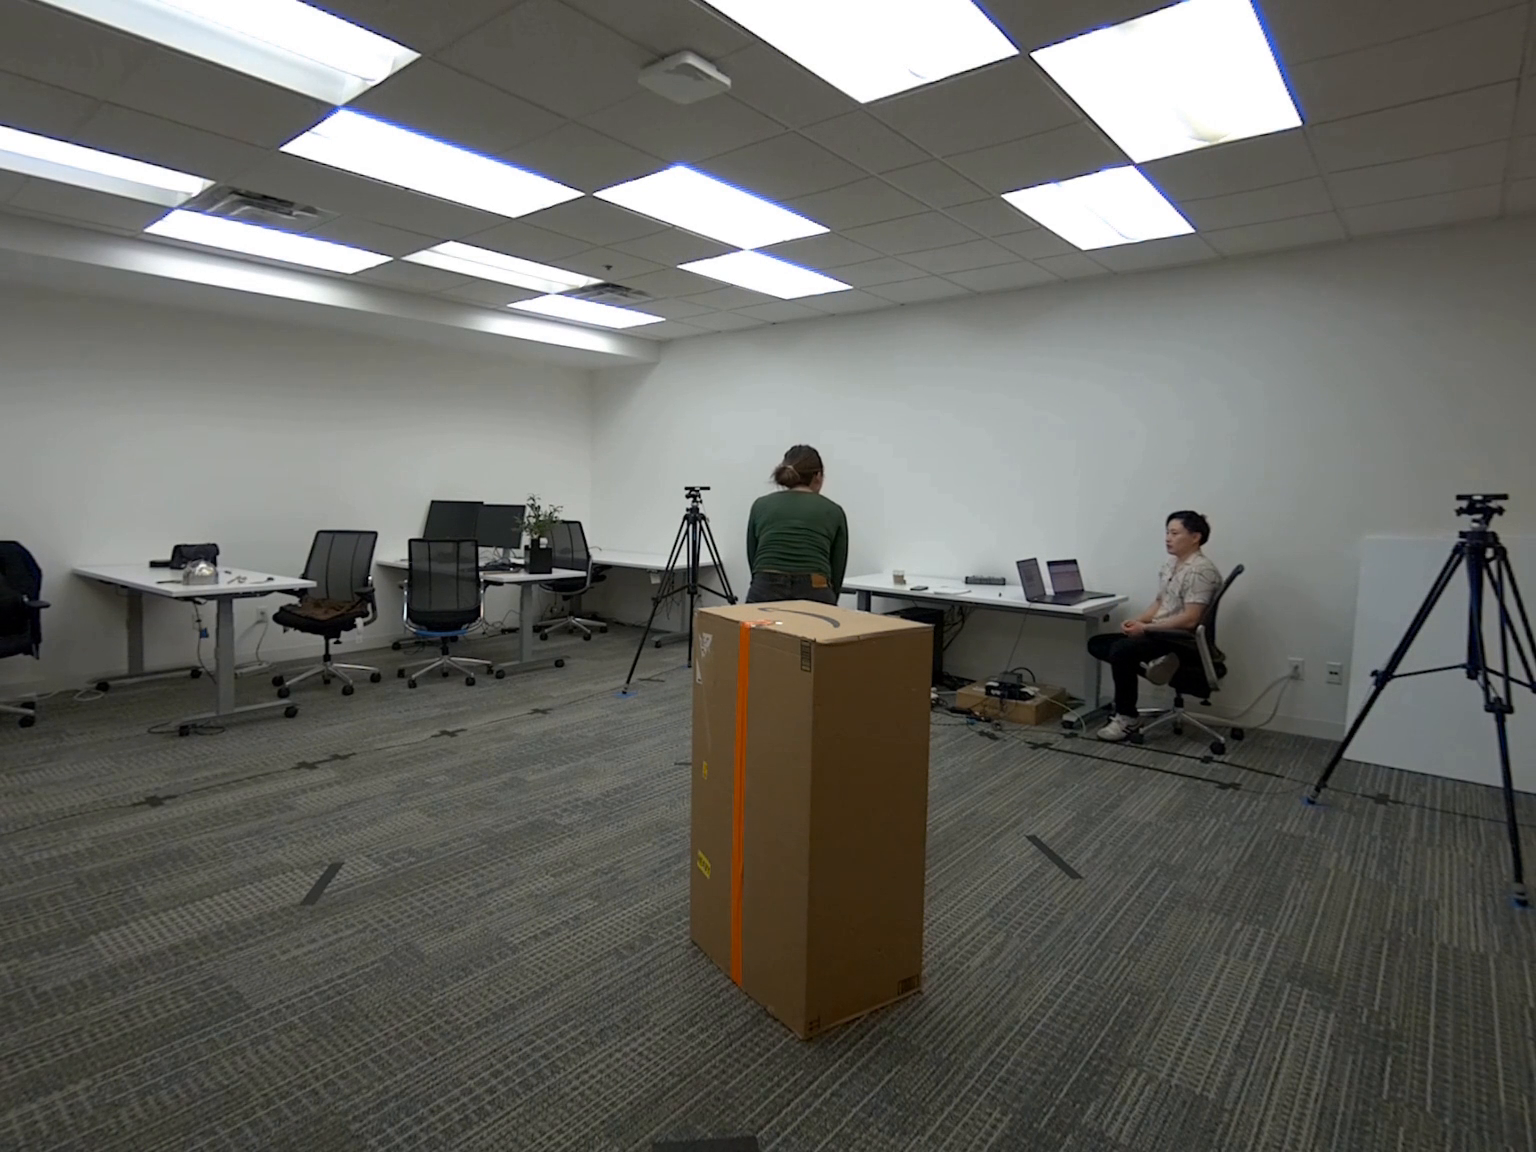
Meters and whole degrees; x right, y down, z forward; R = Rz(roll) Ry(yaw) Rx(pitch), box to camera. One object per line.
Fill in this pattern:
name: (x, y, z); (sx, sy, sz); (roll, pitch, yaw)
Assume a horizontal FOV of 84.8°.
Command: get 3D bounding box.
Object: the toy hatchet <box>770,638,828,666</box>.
toy hatchet: (0.140, 0.341, 3.791); (0.261, 0.130, 0.031); (5, 31, -43)
